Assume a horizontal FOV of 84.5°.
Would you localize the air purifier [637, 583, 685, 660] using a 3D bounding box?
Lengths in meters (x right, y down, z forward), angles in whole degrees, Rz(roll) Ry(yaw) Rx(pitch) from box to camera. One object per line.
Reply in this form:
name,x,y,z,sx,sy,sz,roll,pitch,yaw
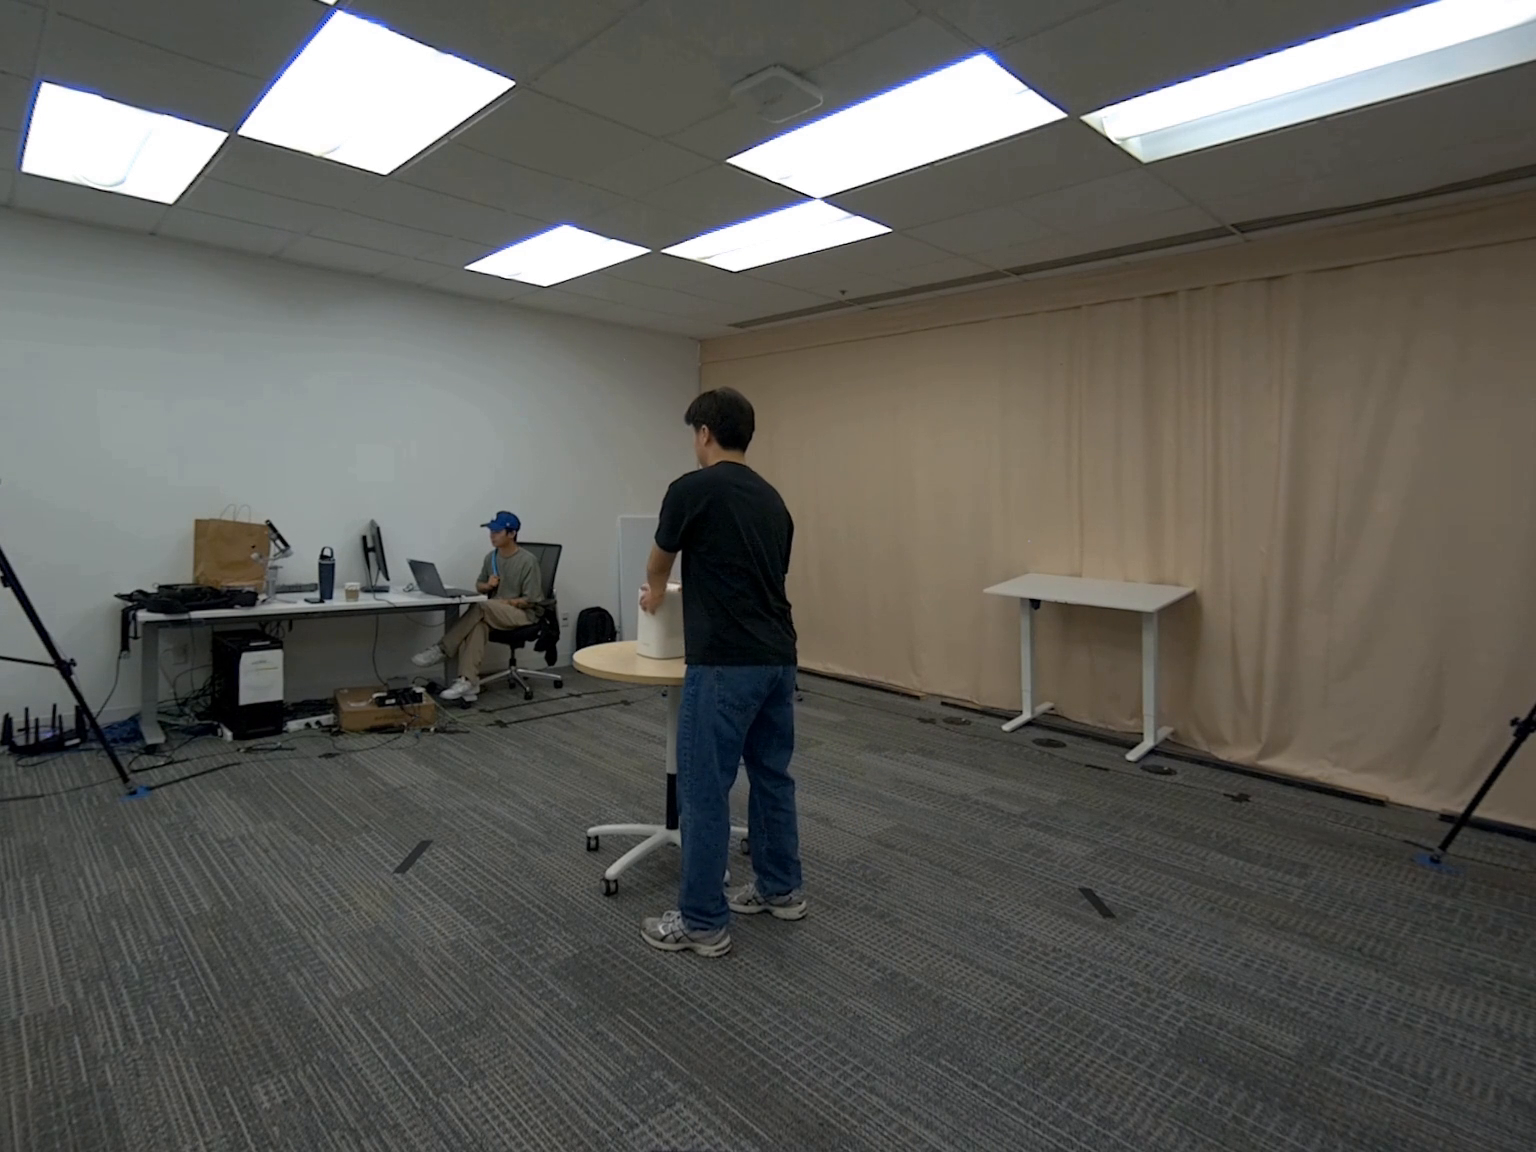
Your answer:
air purifier,-0.396,0.167,3.176,0.175,0.265,0.167,6,4,44
